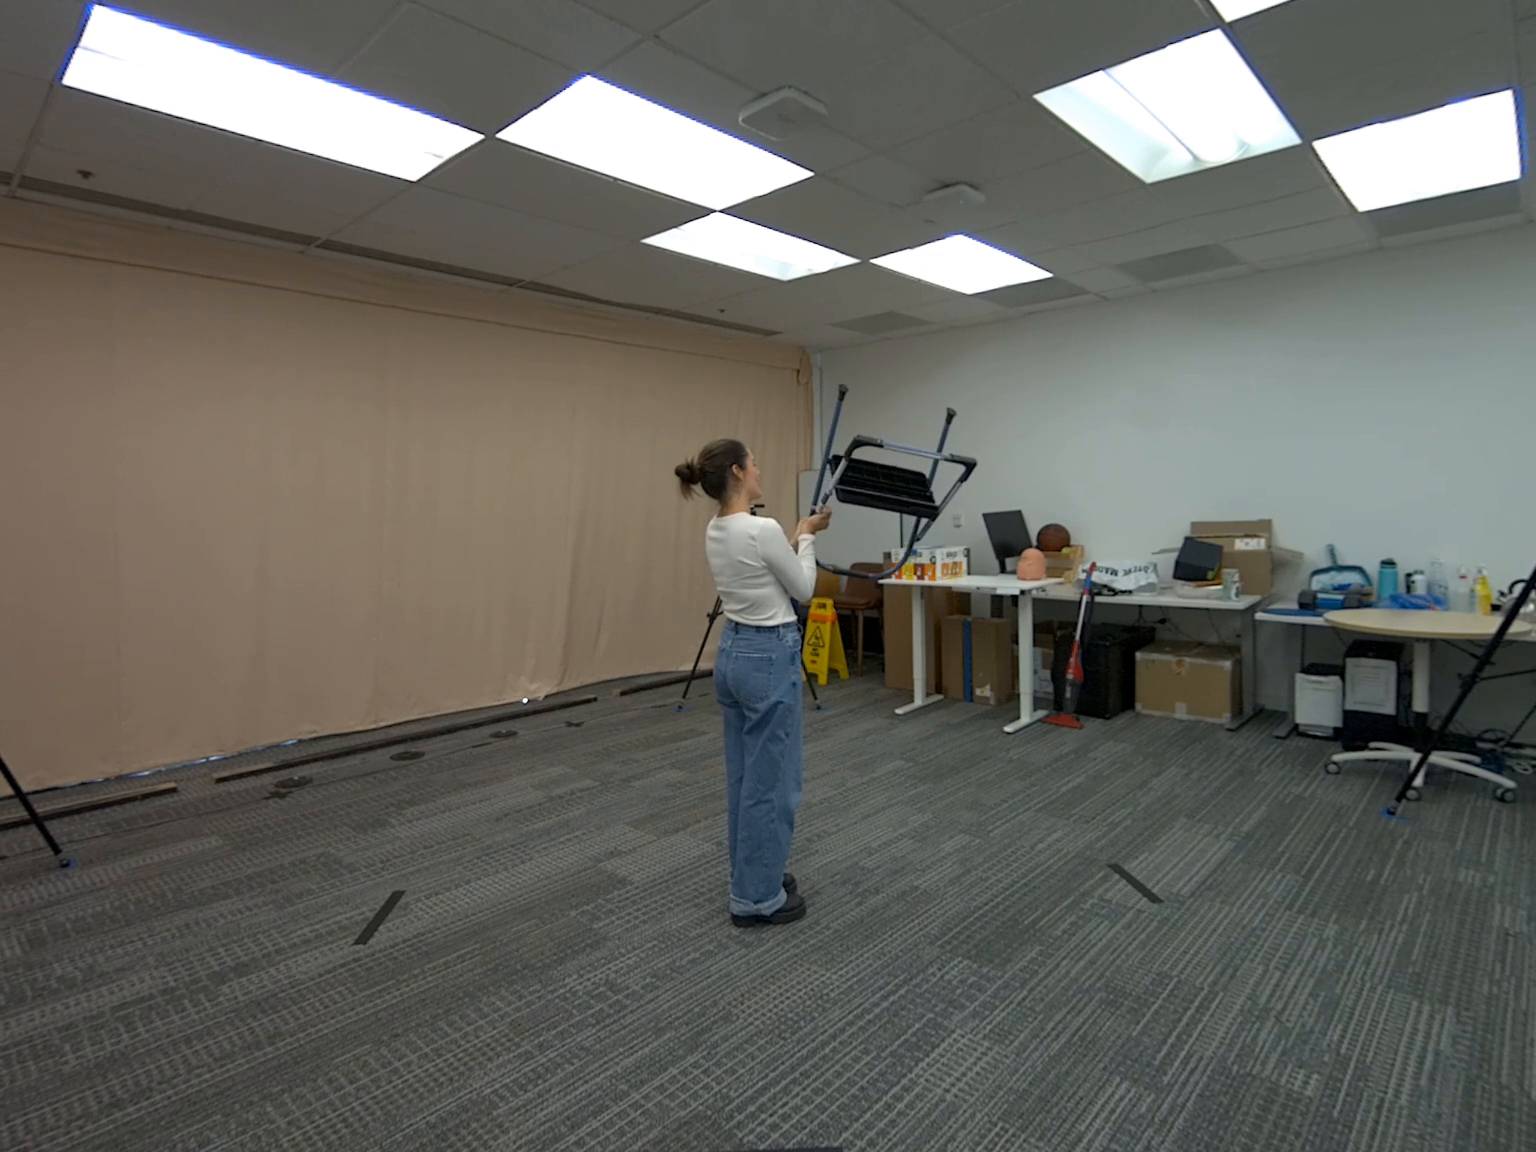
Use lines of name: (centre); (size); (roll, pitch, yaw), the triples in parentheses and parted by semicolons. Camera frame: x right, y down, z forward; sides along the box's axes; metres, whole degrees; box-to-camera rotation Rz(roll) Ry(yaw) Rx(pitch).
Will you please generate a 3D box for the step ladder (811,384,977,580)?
step ladder: (0.384, -0.274, 2.924); (0.426, 0.601, 0.355); (11, 36, -9)
